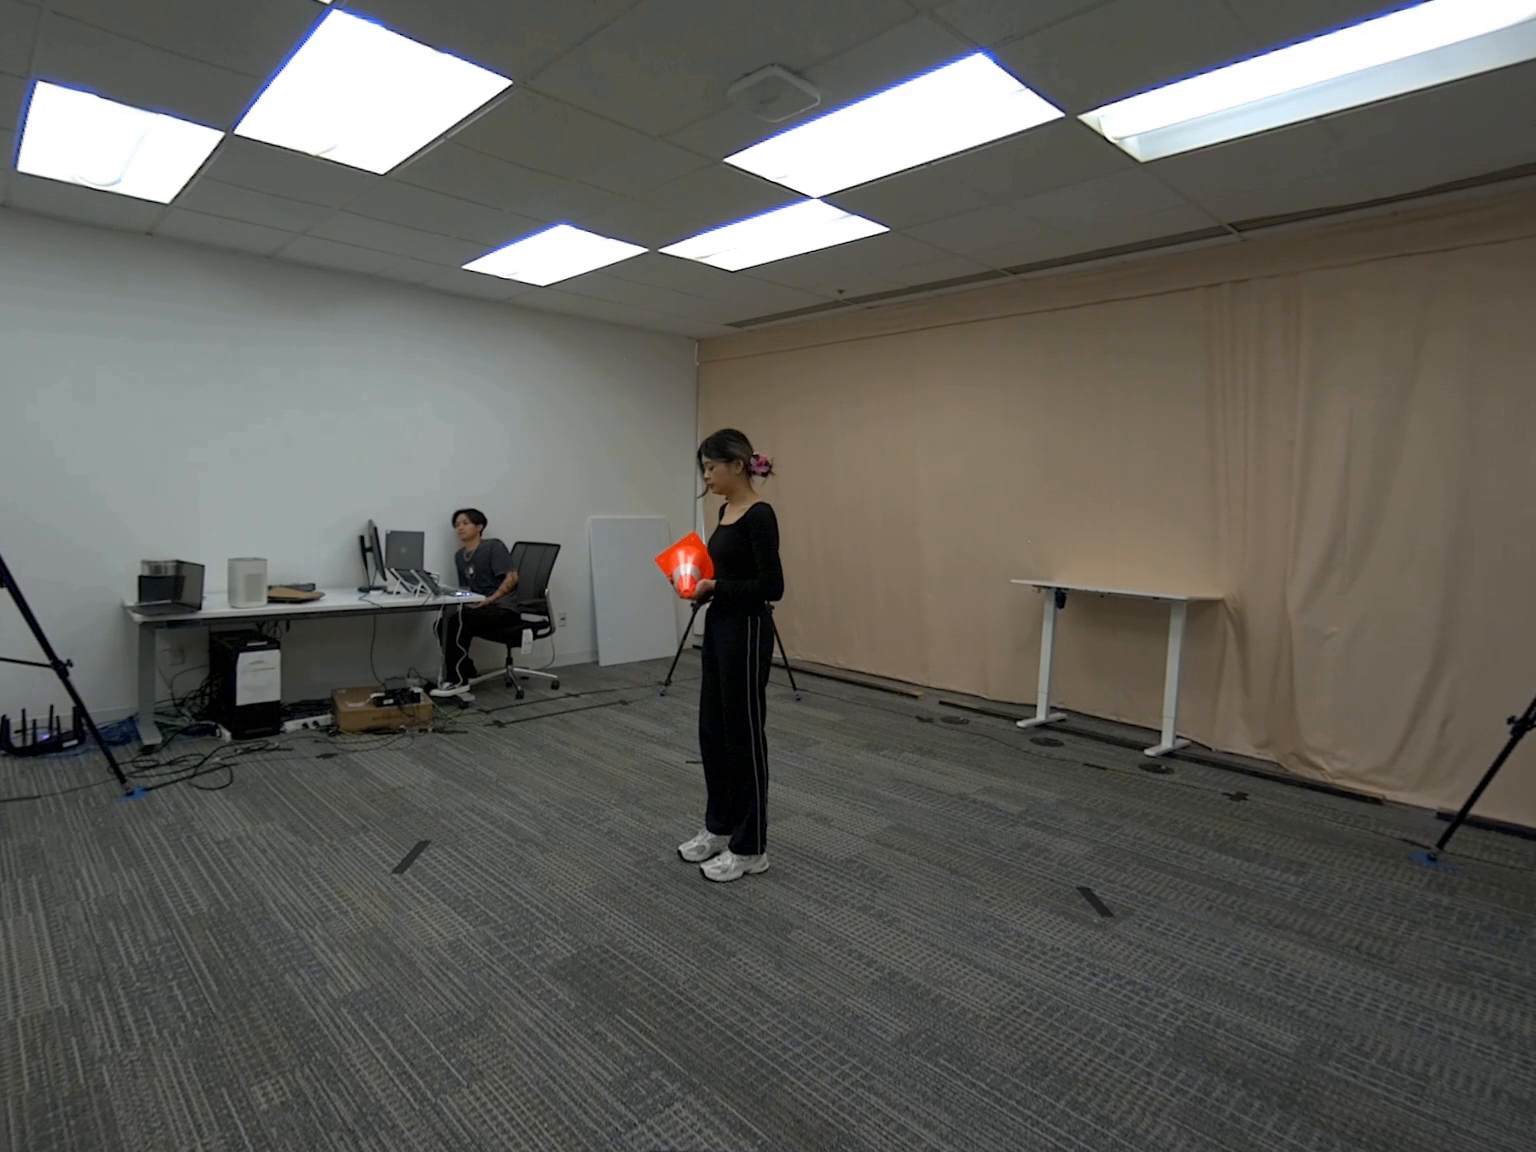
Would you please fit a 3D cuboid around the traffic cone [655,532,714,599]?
[{"bbox_3d":[-0.300,0.006,3.108,0.205,0.200,0.389,-31,16,4],"label":"traffic cone"}]
